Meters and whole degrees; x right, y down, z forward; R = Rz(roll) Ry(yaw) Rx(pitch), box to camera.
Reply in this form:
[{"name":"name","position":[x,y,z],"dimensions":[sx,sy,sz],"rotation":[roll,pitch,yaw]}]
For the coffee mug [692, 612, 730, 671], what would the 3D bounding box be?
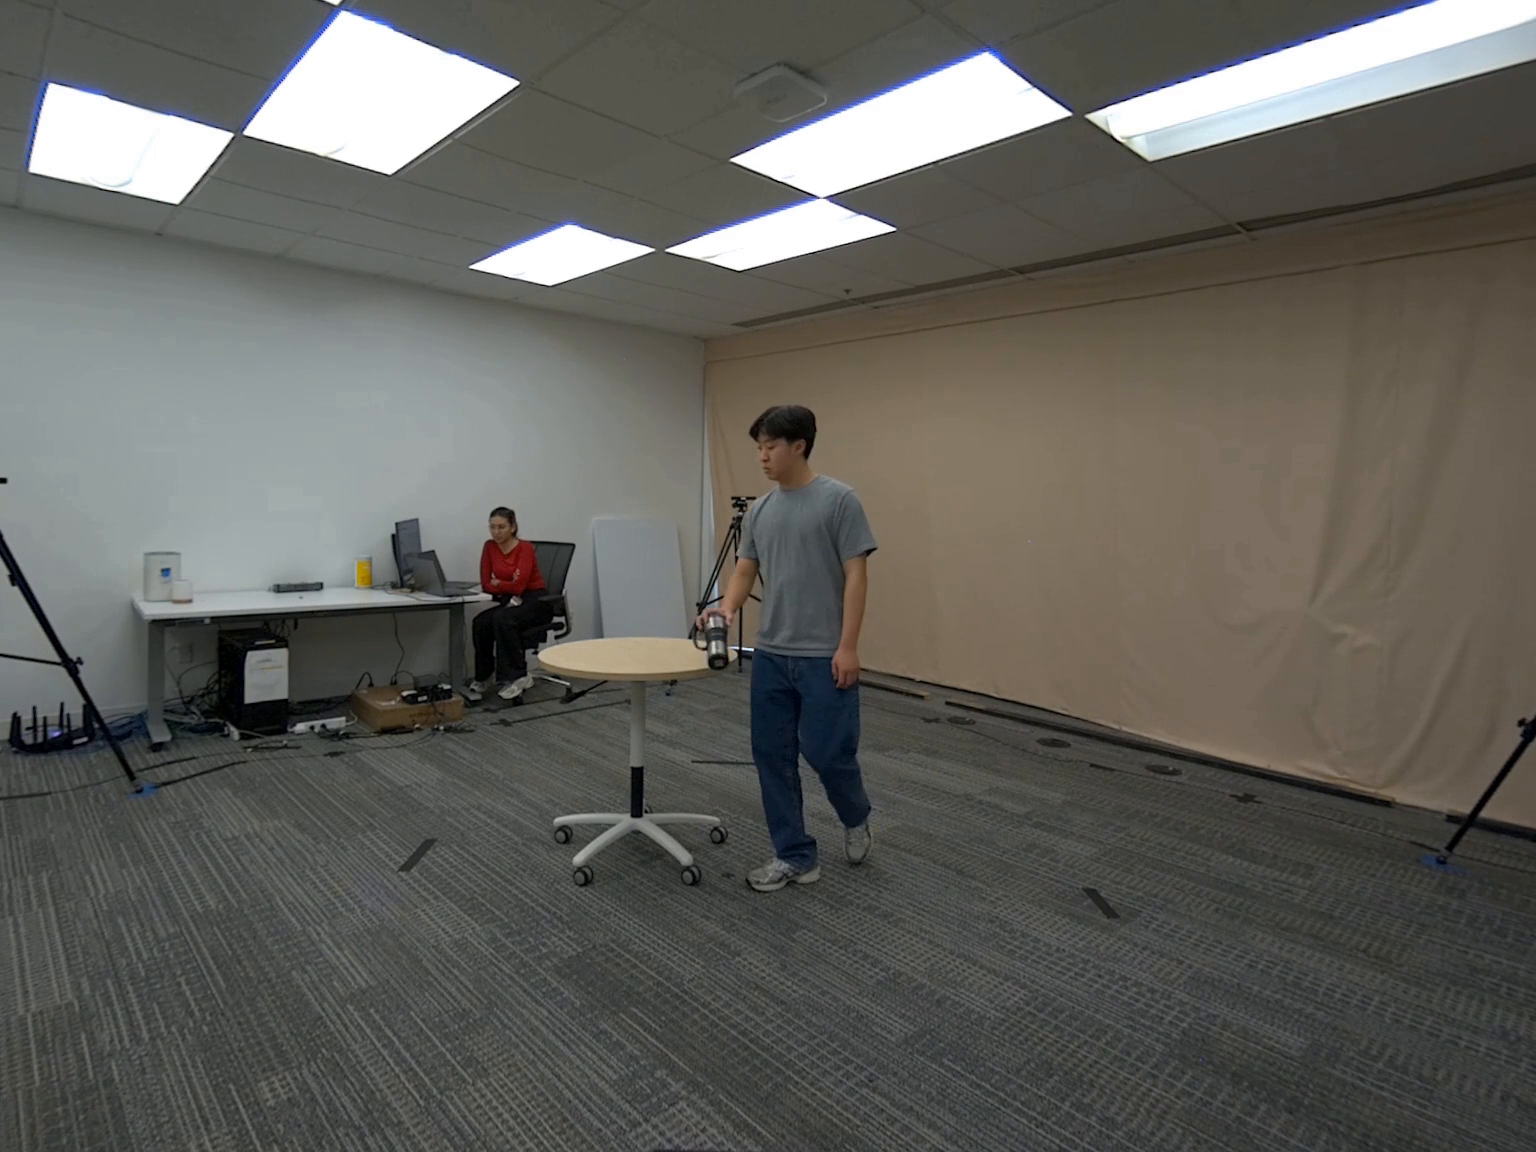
[{"name":"coffee mug","position":[-0.197,0.231,2.855],"dimensions":[0.123,0.207,0.085],"rotation":[-22,-50,21]}]
